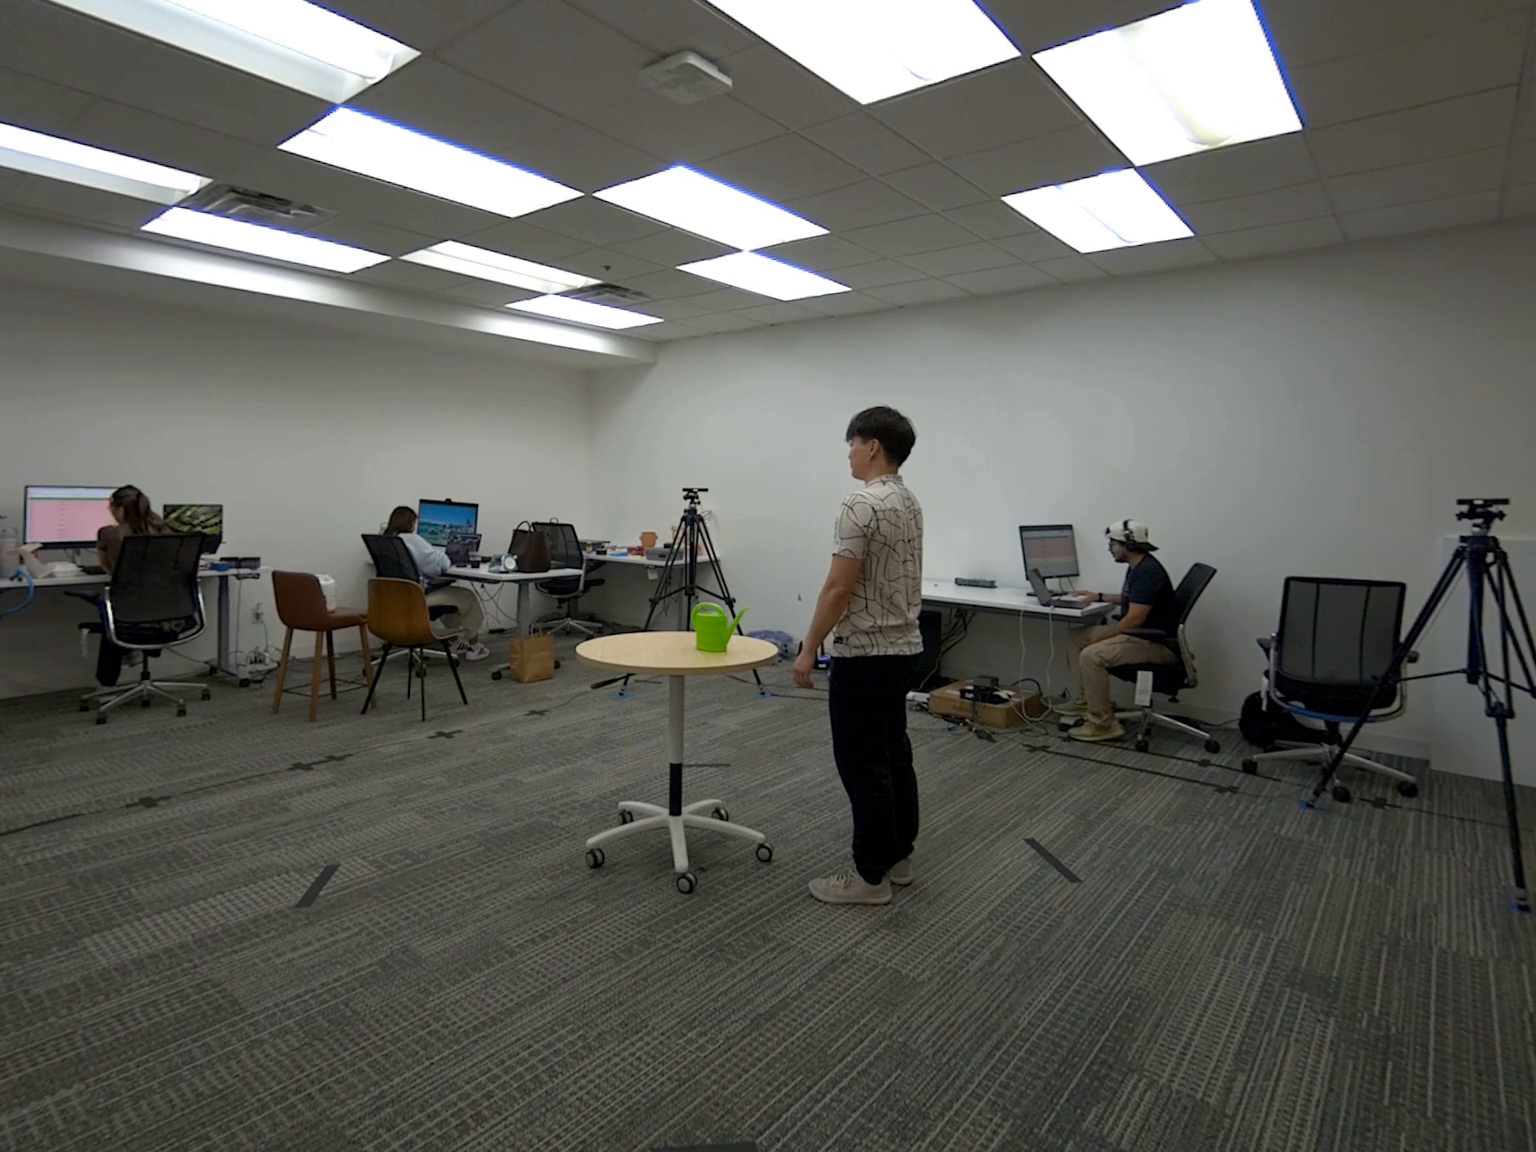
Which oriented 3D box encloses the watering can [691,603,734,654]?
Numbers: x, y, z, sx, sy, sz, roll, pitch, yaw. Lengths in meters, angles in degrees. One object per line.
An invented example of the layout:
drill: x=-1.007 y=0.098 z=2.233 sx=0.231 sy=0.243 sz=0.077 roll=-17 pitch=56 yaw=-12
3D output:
watering can: x=-0.197 y=0.188 z=3.182 sx=0.095 sy=0.176 sz=0.287 roll=-1 pitch=3 yaw=-40
